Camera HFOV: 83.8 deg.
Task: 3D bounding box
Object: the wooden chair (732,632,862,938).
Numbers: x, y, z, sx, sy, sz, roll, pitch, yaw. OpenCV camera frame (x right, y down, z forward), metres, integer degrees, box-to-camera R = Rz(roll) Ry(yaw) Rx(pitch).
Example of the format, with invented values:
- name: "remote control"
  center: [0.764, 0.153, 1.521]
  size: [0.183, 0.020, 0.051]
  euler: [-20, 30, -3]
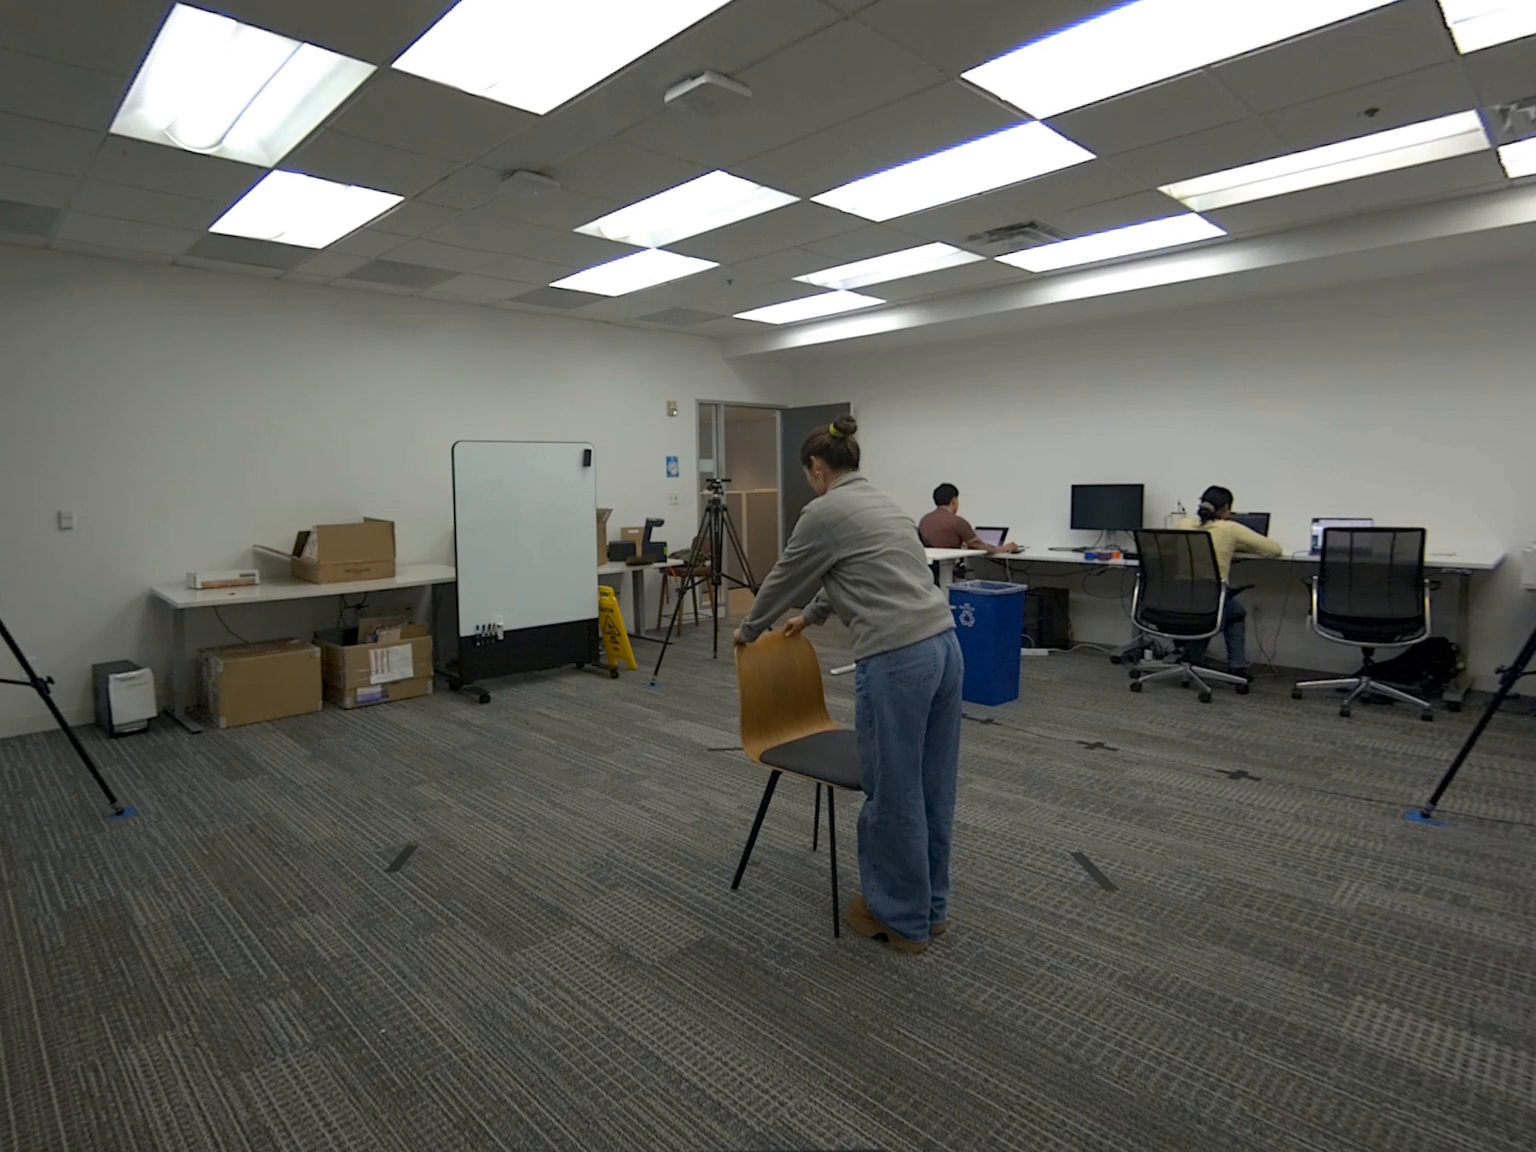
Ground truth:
- name: "wooden chair"
  center: [0.190, 0.640, 2.874]
  size: [0.538, 0.876, 0.465]
  euler: [-2, 2, 44]
